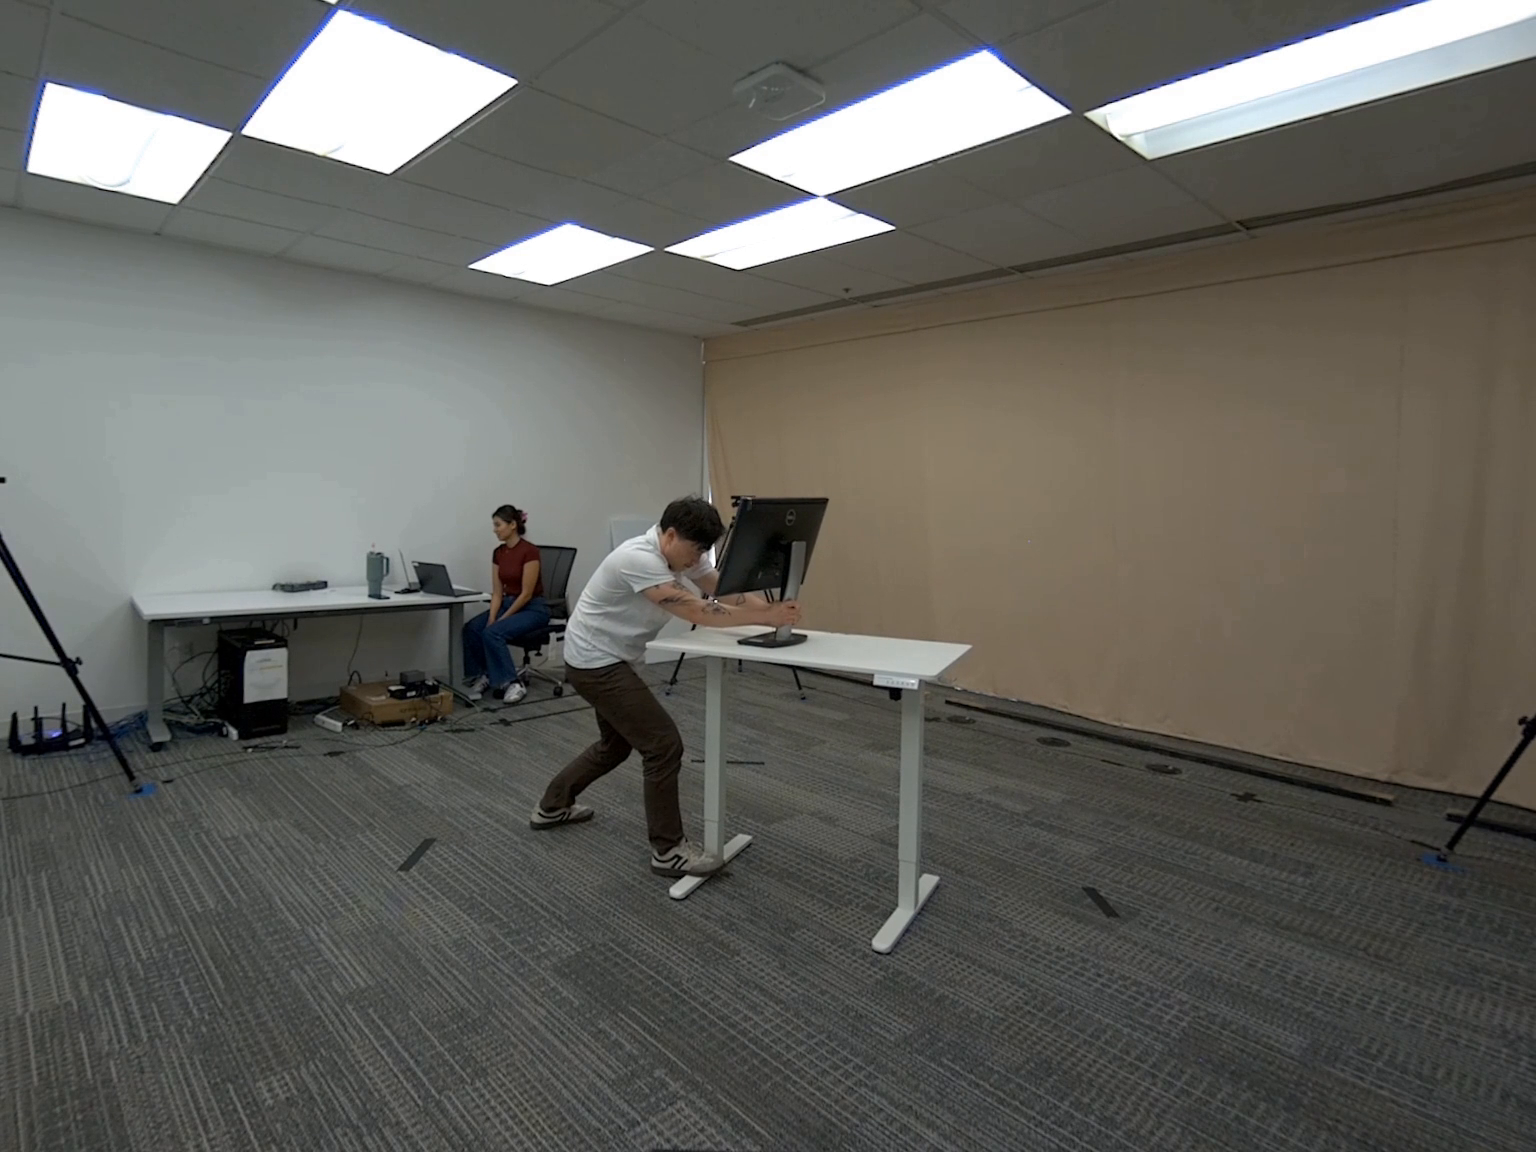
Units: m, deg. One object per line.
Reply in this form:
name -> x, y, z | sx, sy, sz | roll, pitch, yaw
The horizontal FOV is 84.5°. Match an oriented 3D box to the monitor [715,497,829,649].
monitor -> 0.034, -0.018, 2.981 | 0.192, 0.520, 0.528 | 7, 8, 33
